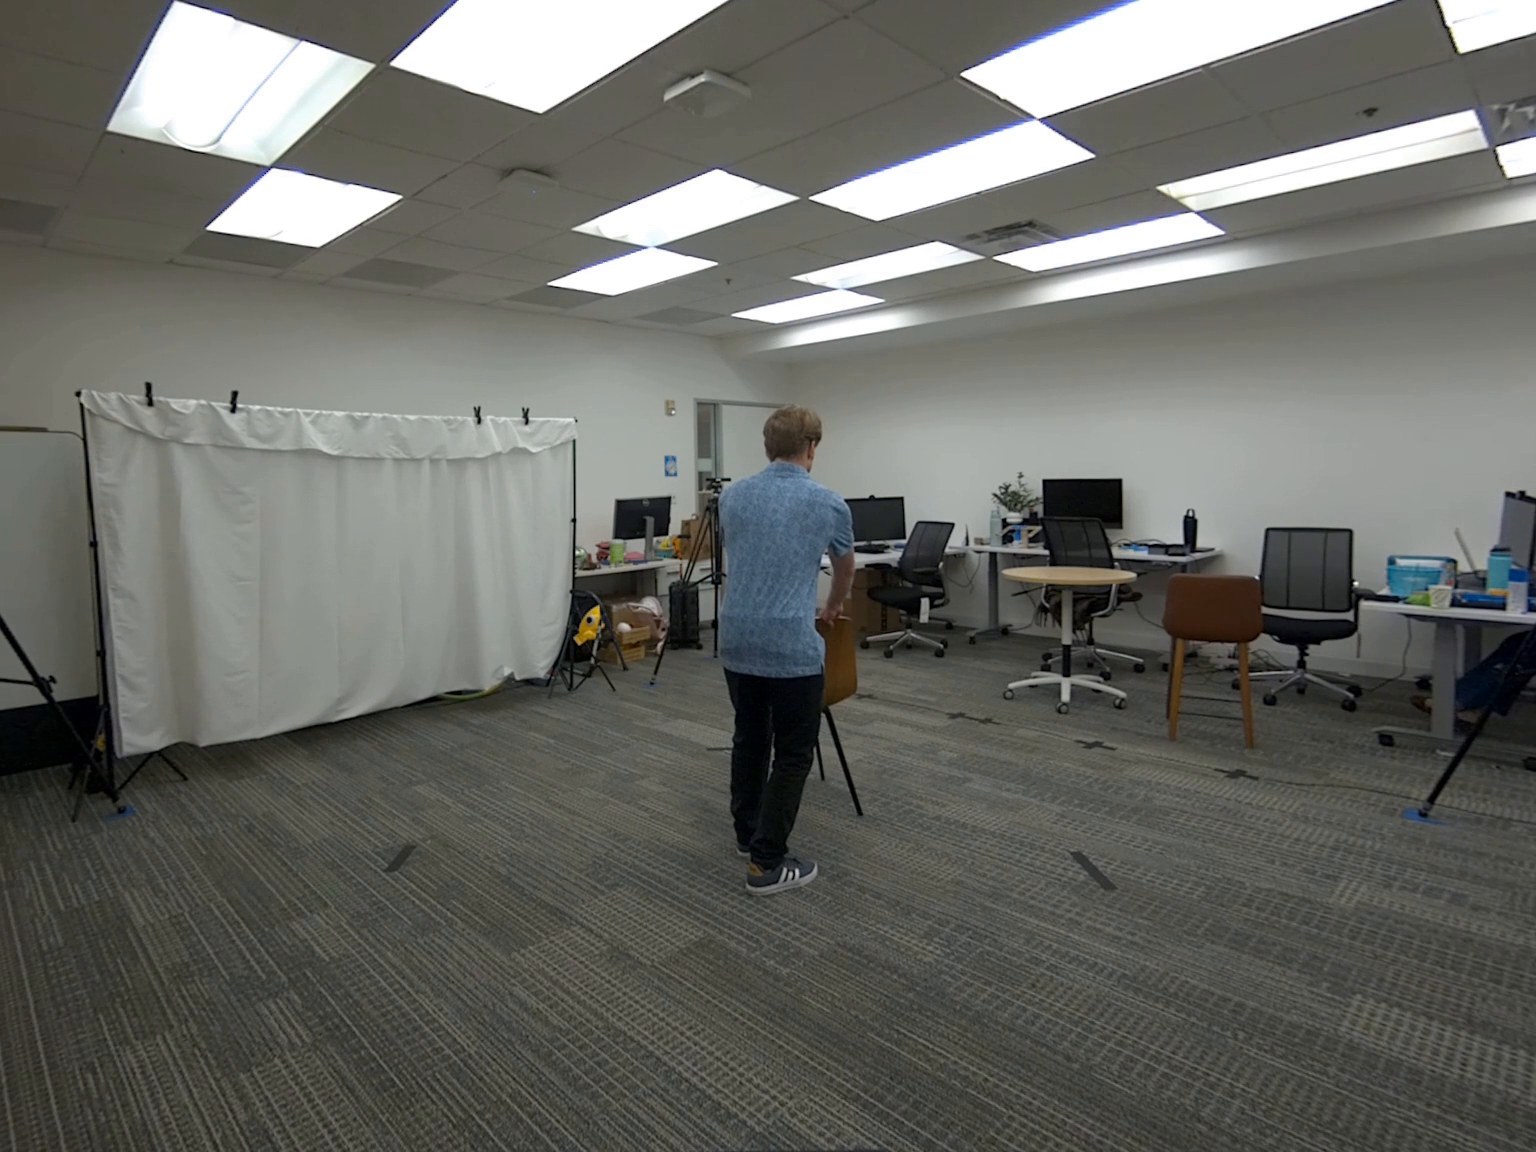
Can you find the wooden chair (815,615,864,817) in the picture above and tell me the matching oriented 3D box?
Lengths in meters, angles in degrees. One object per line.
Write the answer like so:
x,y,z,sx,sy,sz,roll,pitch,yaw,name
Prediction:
0.102,0.548,3.662,0.471,0.871,0.535,-2,9,-16,wooden chair
